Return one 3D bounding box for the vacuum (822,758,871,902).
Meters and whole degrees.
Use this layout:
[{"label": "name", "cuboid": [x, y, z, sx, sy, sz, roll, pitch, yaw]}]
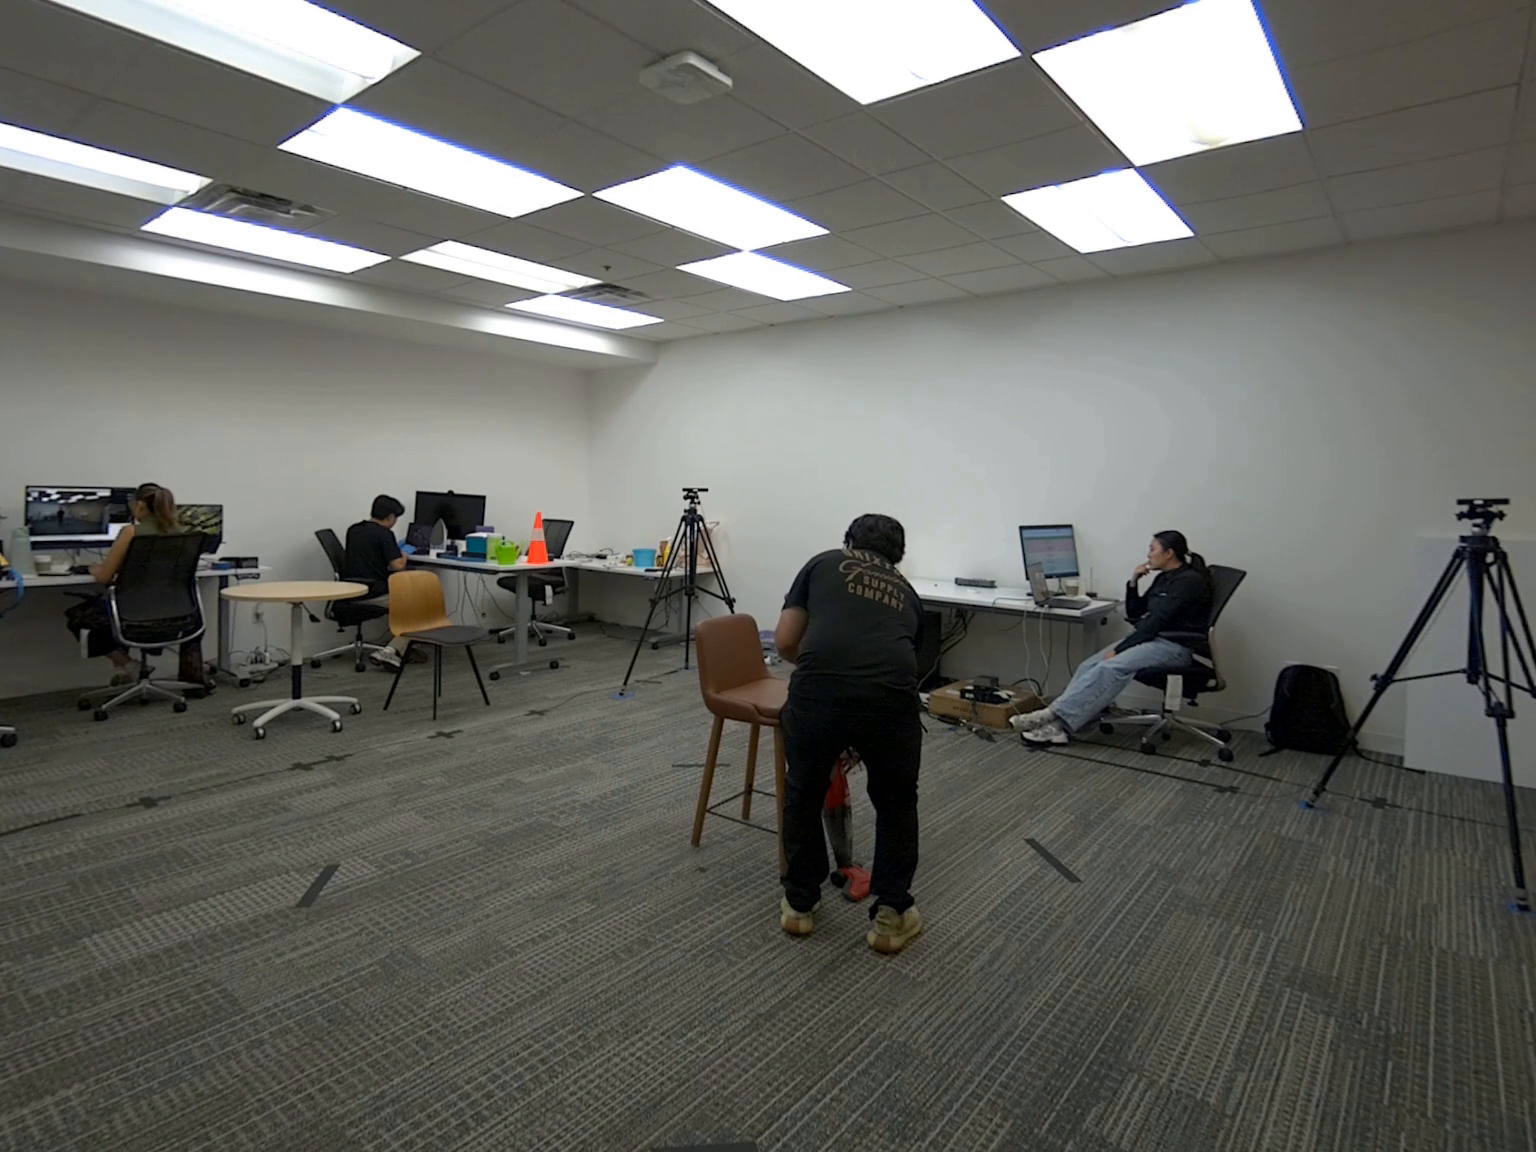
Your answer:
[{"label": "vacuum", "cuboid": [0.203, 0.588, 3.119, 0.245, 1.064, 0.146, -4, -15, -35]}]
